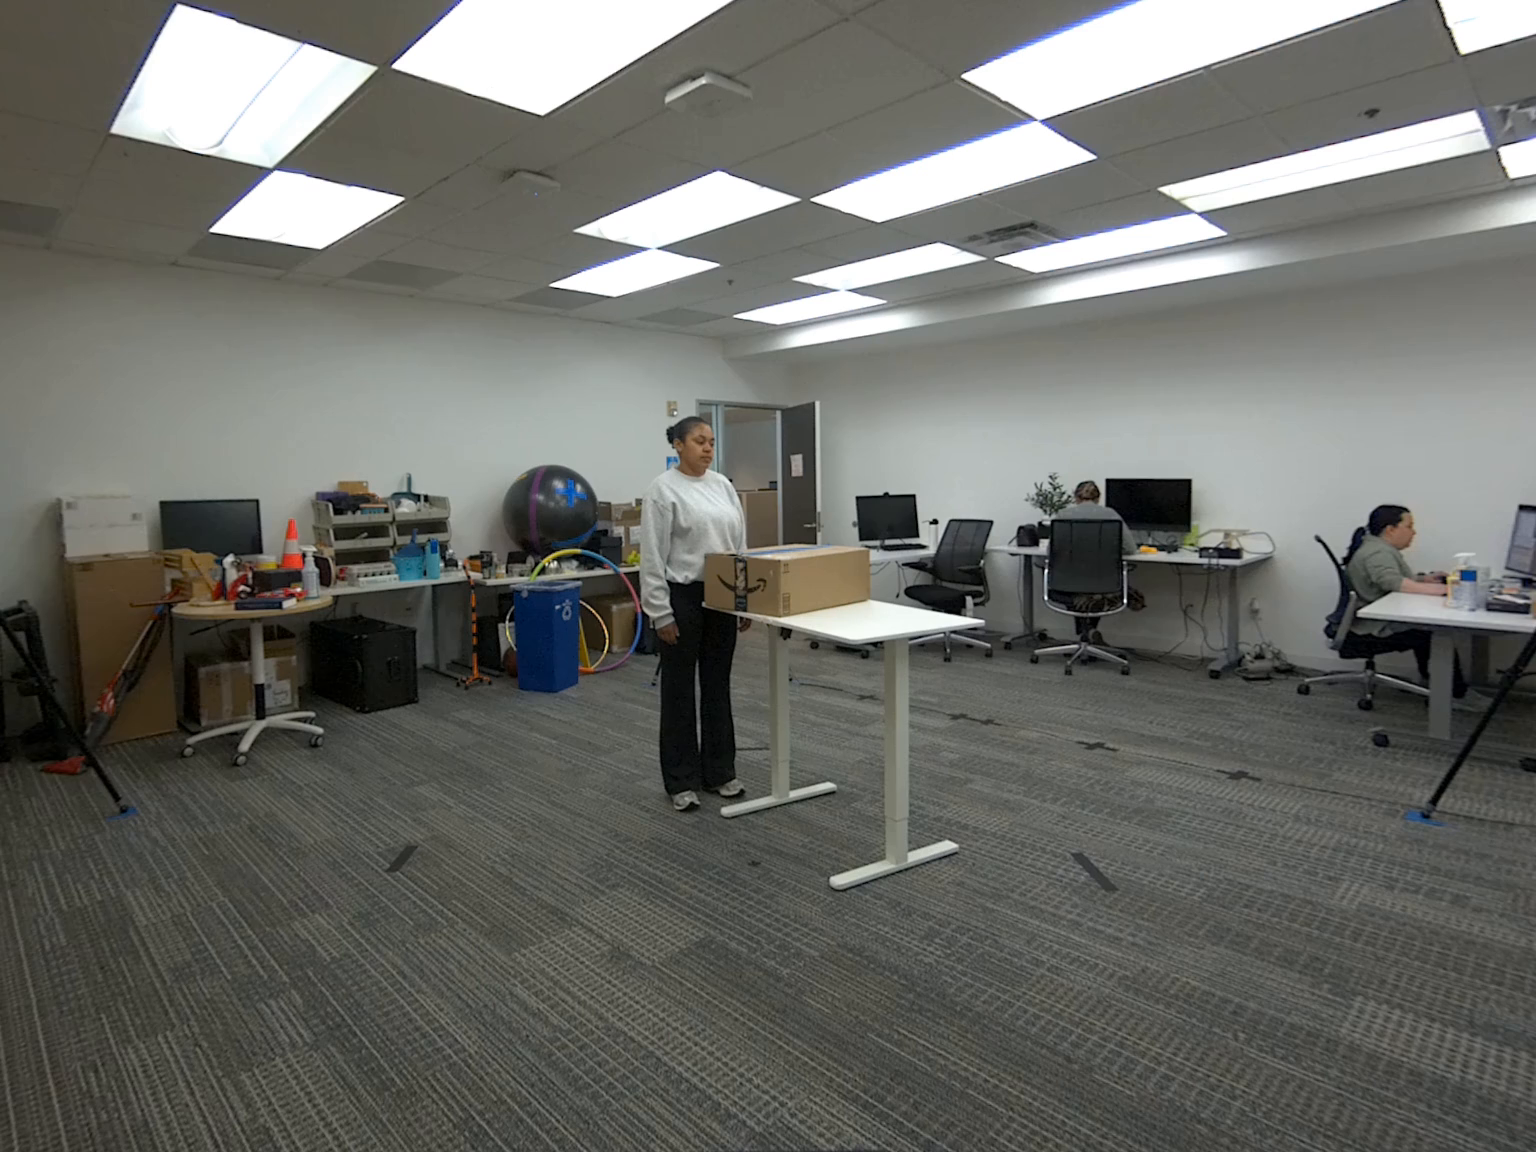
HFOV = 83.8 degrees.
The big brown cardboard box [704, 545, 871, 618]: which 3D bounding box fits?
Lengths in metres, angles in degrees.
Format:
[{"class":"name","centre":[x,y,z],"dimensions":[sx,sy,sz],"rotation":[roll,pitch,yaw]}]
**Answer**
[{"class":"big brown cardboard box","centre":[0.073,0.006,3.497],"dimensions":[0.430,0.232,0.573],"rotation":[5,7,44]}]
